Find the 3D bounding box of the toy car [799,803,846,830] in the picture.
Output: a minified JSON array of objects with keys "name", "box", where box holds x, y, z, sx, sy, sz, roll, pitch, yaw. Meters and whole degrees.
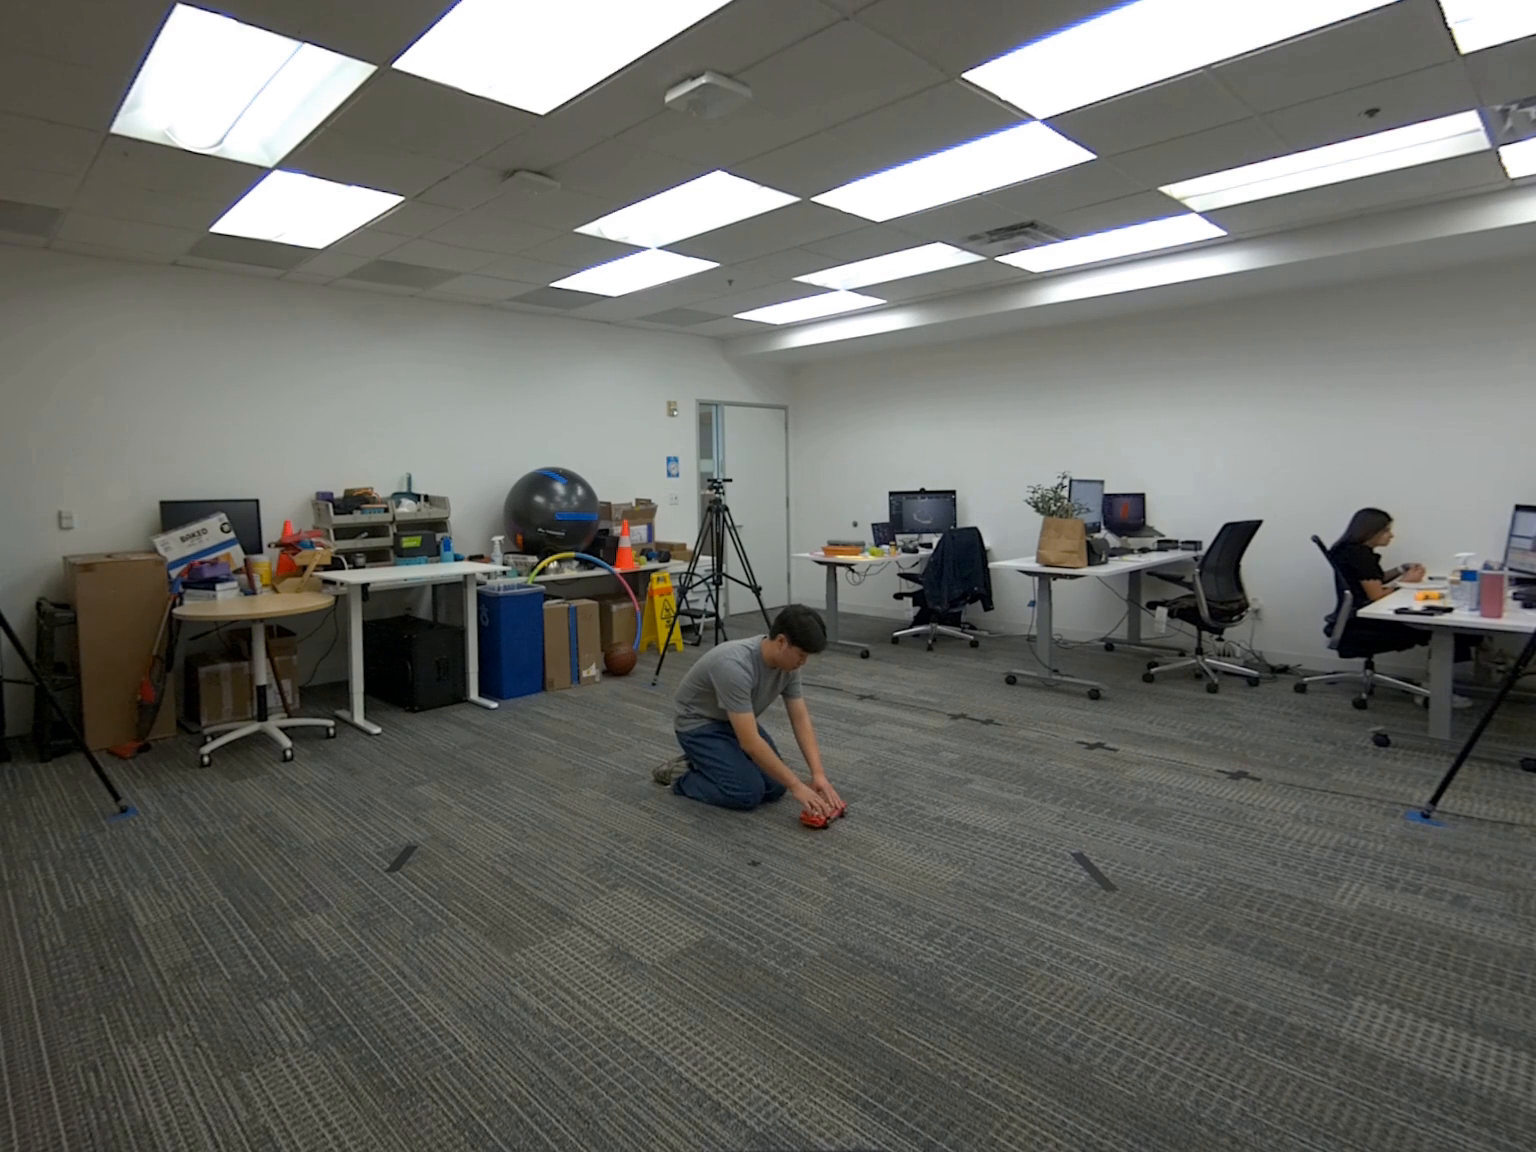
[{"name":"toy car","box":[0.223,0.971,3.482,0.134,0.083,0.246,2,-5,35]}]
